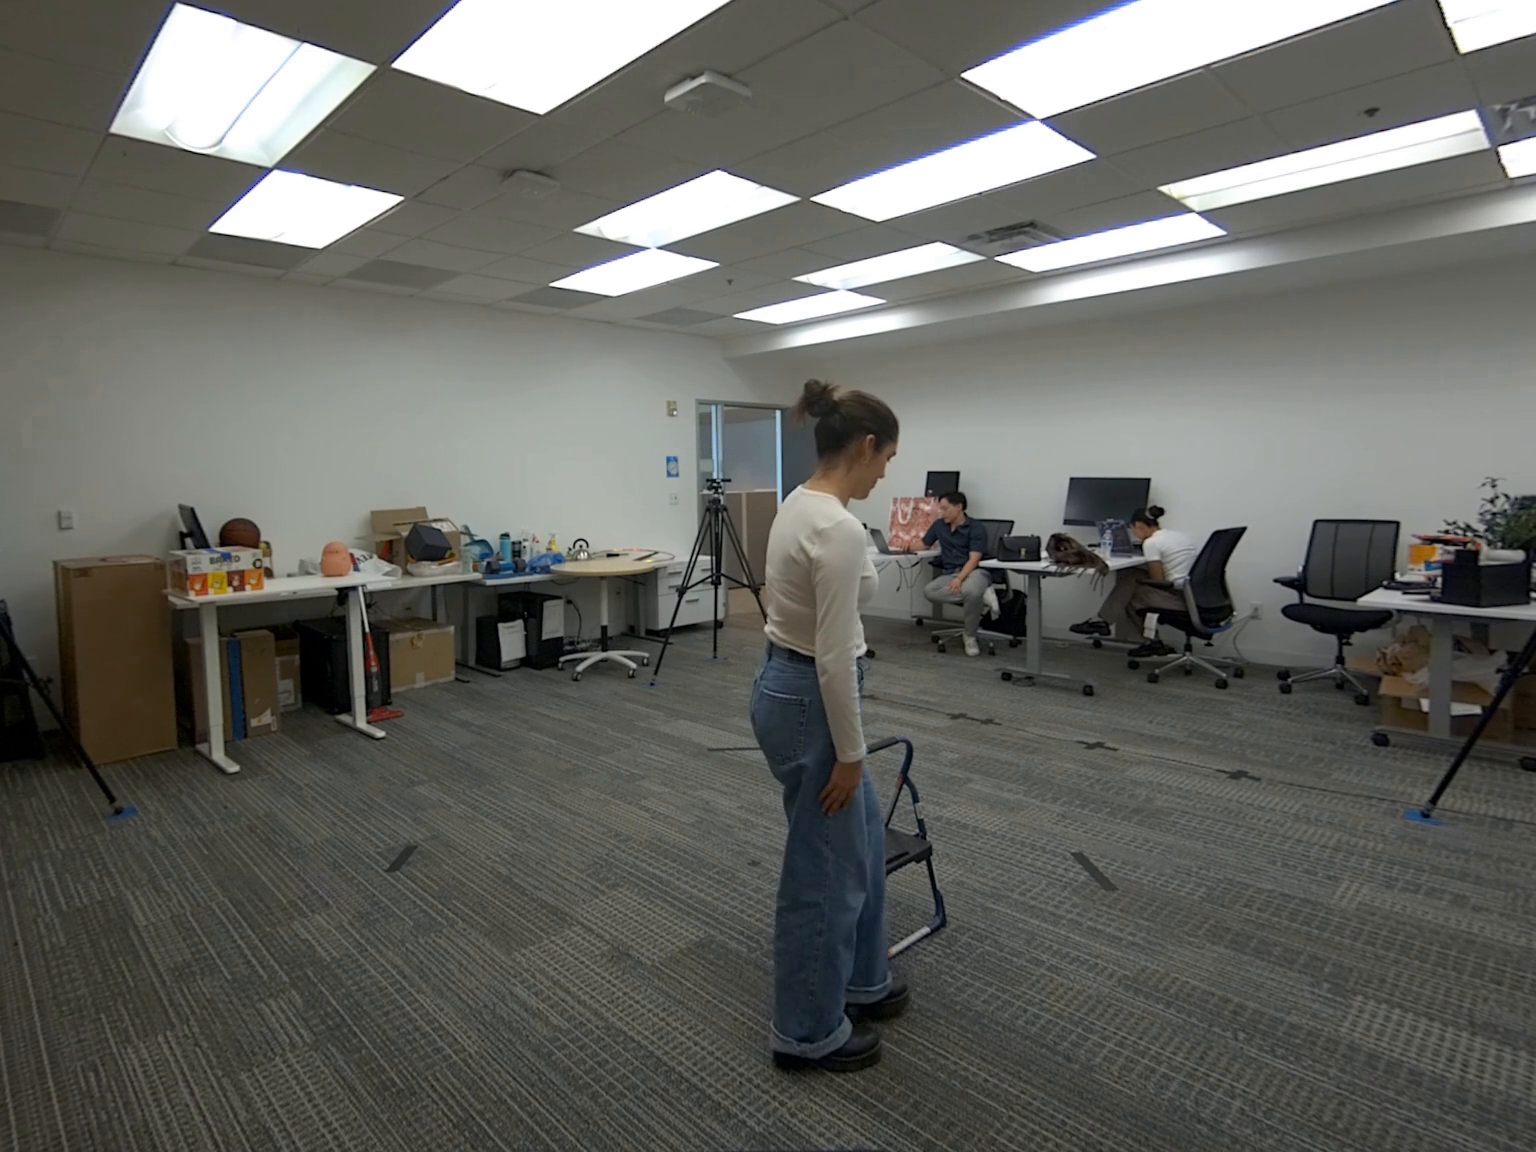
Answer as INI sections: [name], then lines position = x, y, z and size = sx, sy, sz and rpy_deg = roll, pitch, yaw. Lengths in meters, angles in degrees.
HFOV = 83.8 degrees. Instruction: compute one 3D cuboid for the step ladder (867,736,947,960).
[step ladder]
position = 0.292, 0.794, 2.625
size = 0.360, 0.603, 0.419
rpy_deg = 3, 7, 45
